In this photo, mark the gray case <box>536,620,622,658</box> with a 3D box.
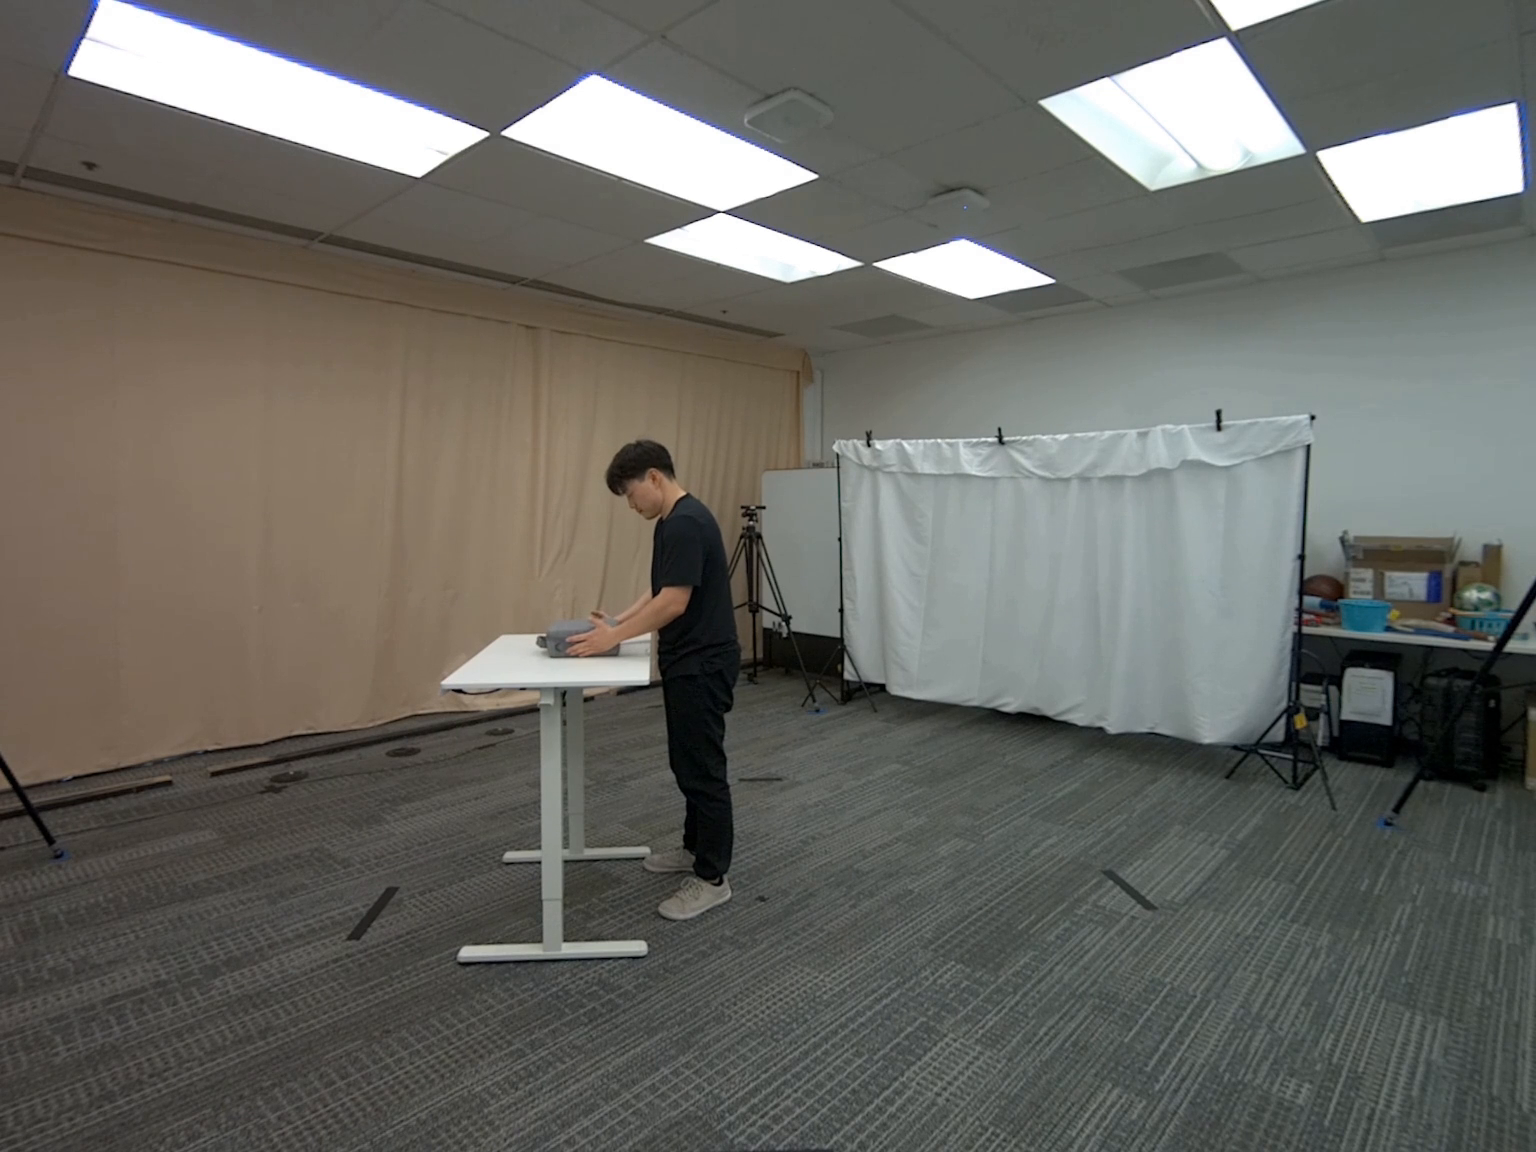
[{"bbox_3d":[-0.655,0.219,2.981,0.258,0.104,0.260,-2,5,-10],"label":"gray case"}]
